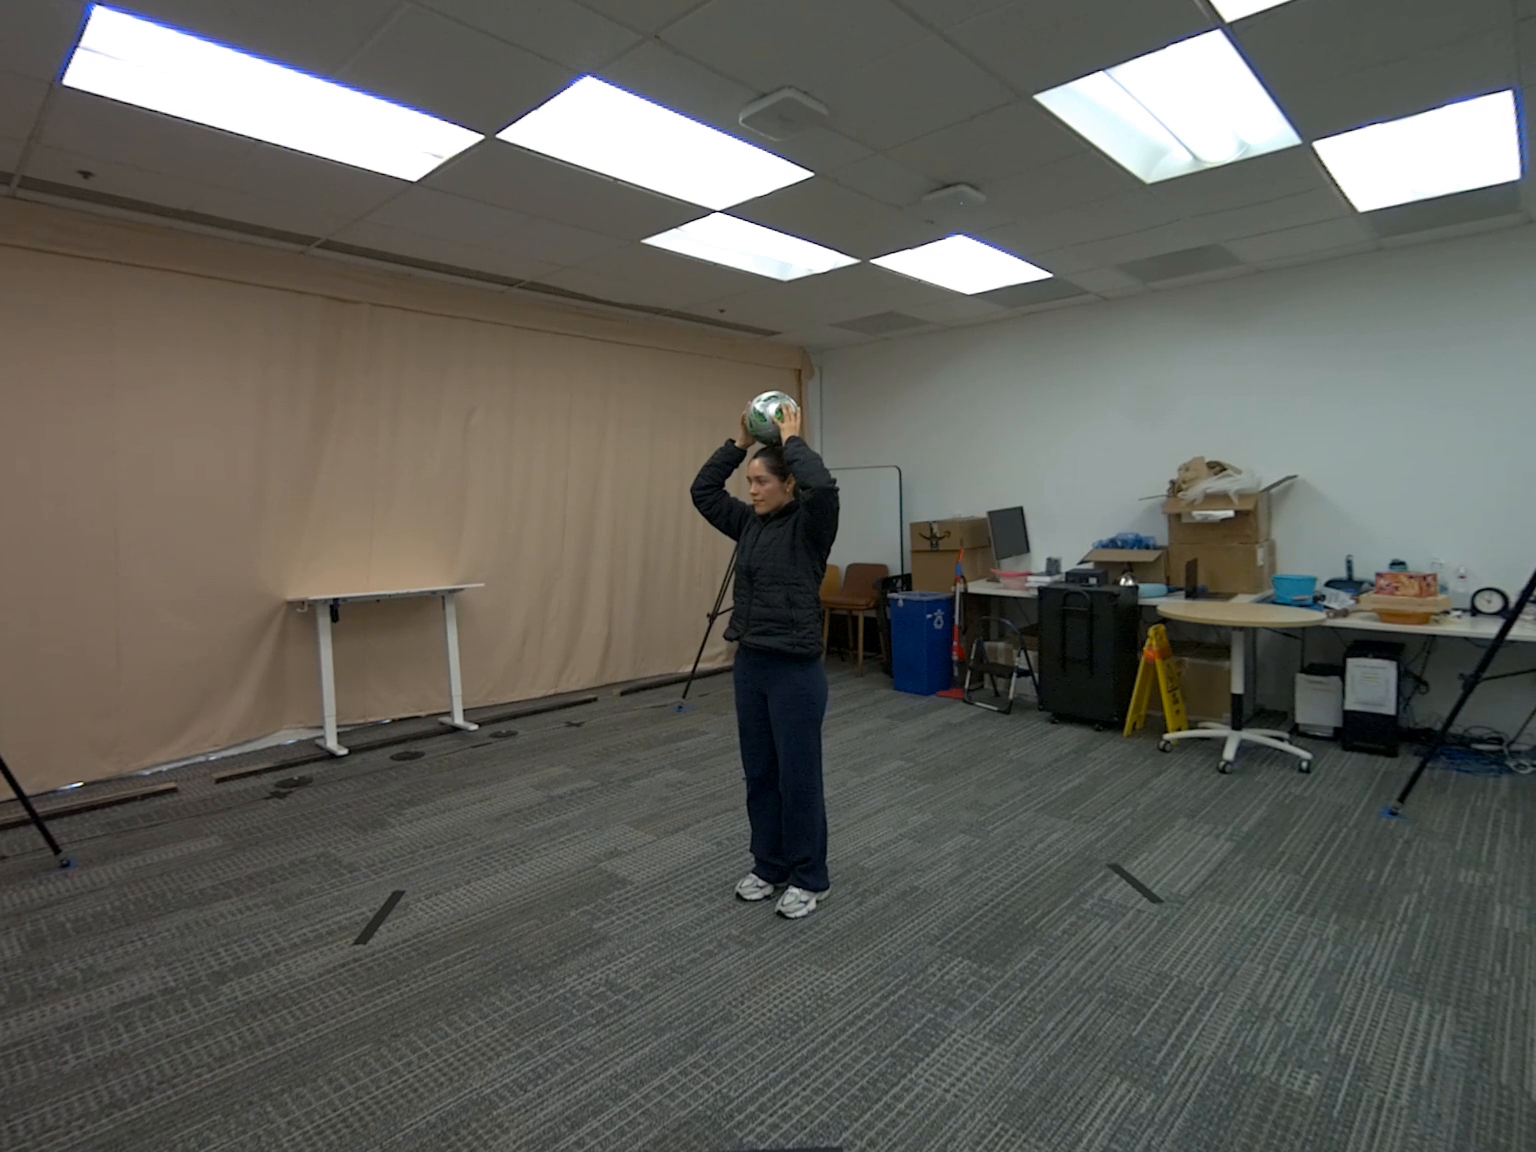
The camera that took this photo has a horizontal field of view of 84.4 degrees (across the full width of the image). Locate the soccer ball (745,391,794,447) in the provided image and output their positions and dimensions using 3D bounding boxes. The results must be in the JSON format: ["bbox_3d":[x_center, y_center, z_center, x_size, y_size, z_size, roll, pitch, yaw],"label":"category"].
[{"bbox_3d":[0.021,-0.541,2.903,0.187,0.187,0.188,-1,4,-2],"label":"soccer ball"}]
